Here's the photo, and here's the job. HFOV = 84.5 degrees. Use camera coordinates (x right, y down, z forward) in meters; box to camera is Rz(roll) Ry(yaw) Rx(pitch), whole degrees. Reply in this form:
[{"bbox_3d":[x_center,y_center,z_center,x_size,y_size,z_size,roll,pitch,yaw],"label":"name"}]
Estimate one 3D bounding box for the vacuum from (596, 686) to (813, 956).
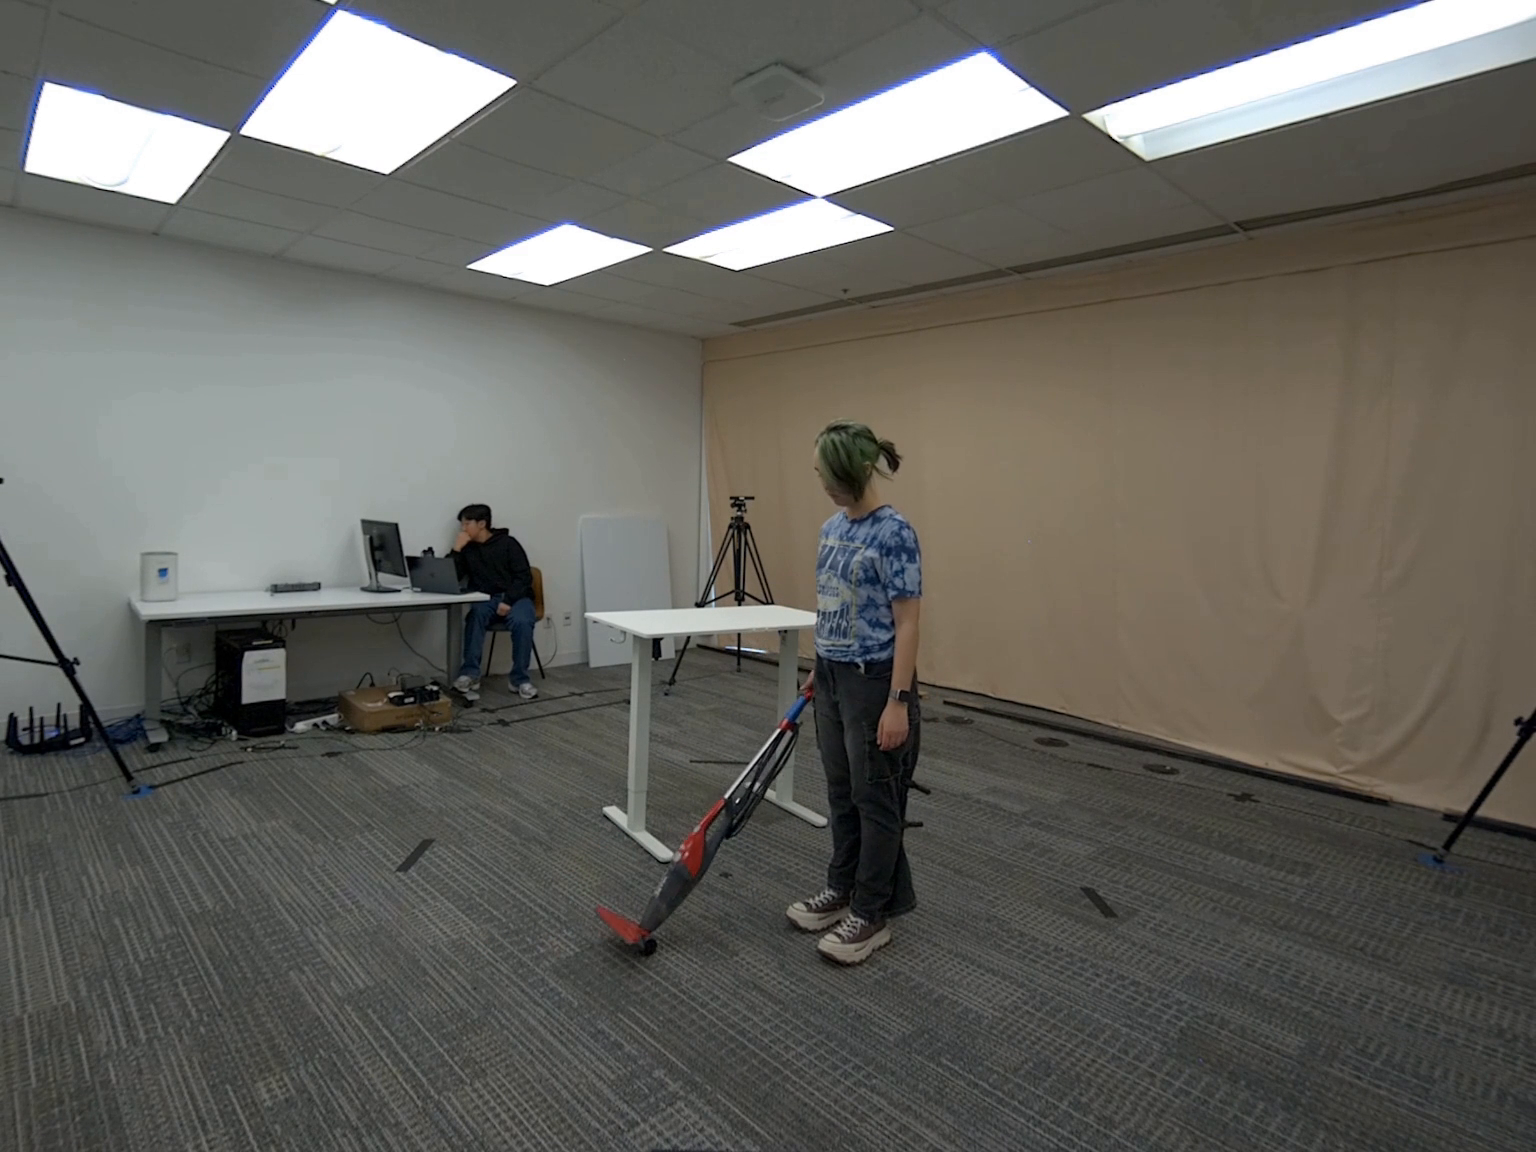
[{"bbox_3d":[-0.123,0.767,2.757,1.048,0.140,0.259,-46,33,-24],"label":"vacuum"}]
